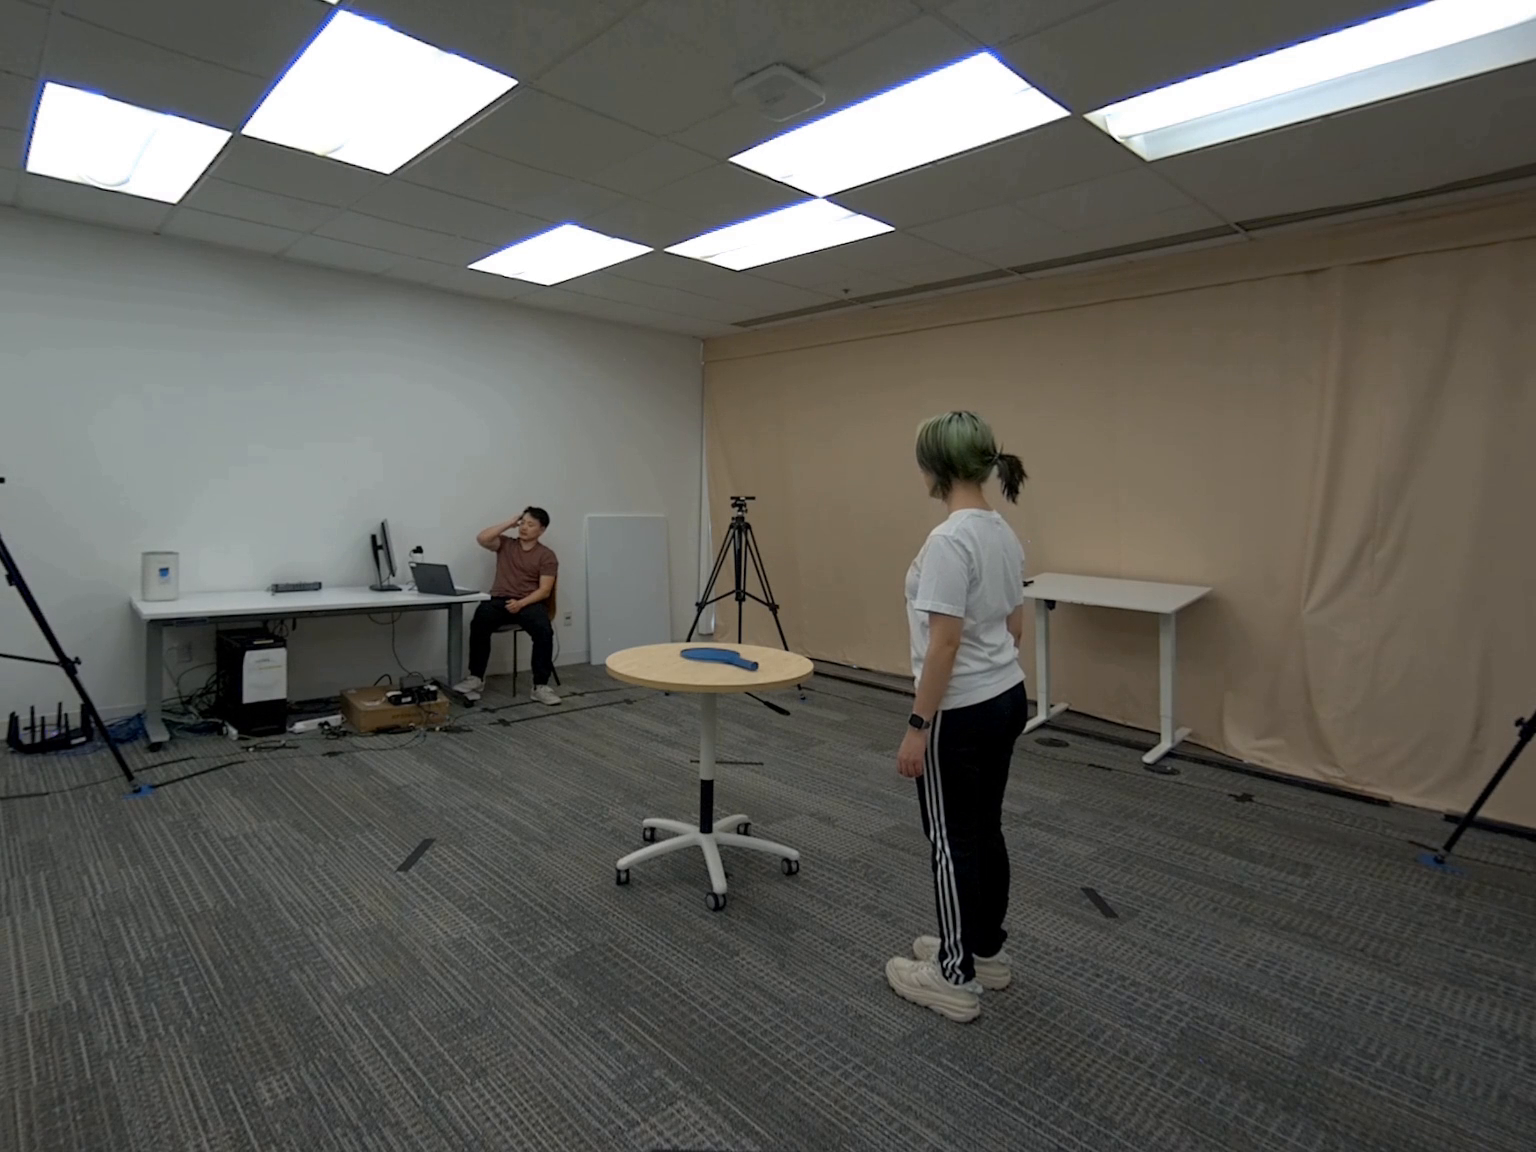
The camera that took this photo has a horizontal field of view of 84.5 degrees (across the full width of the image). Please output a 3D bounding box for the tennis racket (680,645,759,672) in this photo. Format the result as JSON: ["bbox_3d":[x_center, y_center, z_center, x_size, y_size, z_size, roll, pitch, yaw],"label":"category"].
[{"bbox_3d":[-0.180,0.309,3.135,0.209,0.031,0.443,-3,6,-31],"label":"tennis racket"}]
